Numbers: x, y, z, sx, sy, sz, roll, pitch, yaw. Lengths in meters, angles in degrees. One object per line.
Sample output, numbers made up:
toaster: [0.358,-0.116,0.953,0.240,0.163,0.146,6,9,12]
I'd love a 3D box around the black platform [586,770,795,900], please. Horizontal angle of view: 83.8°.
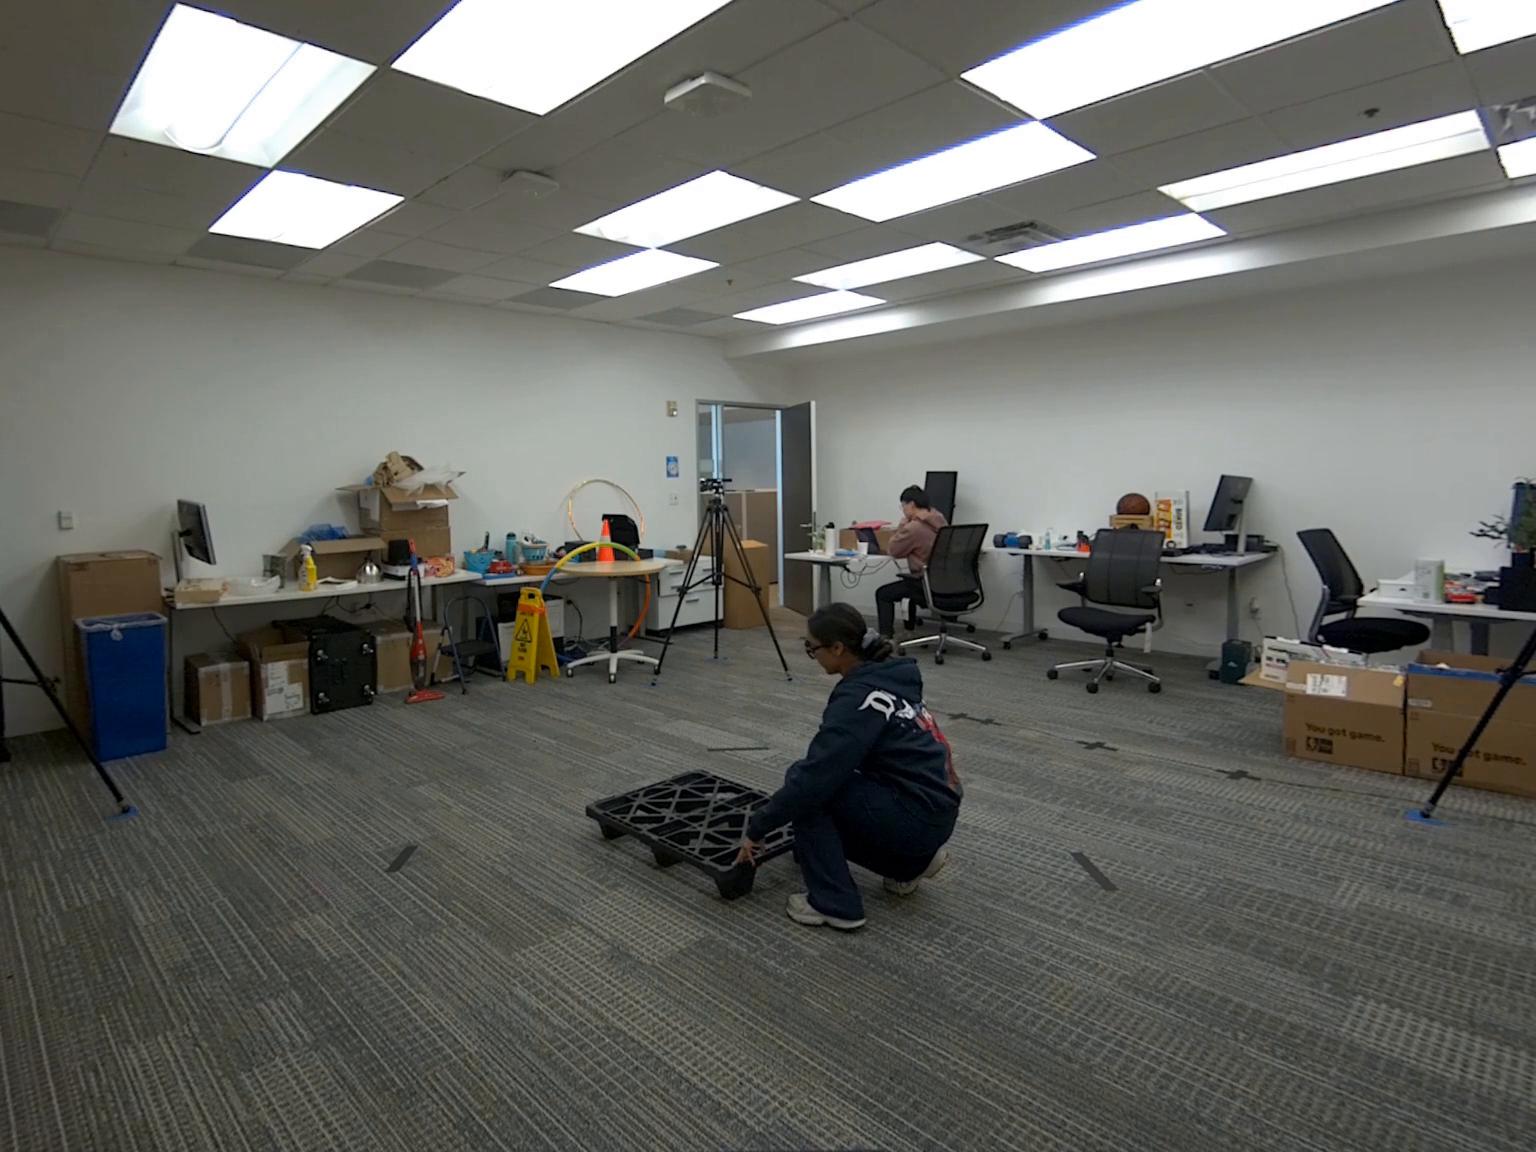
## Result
black platform: [-0.224,0.966,3.243,0.589,0.142,0.831,-8,9,-43]
